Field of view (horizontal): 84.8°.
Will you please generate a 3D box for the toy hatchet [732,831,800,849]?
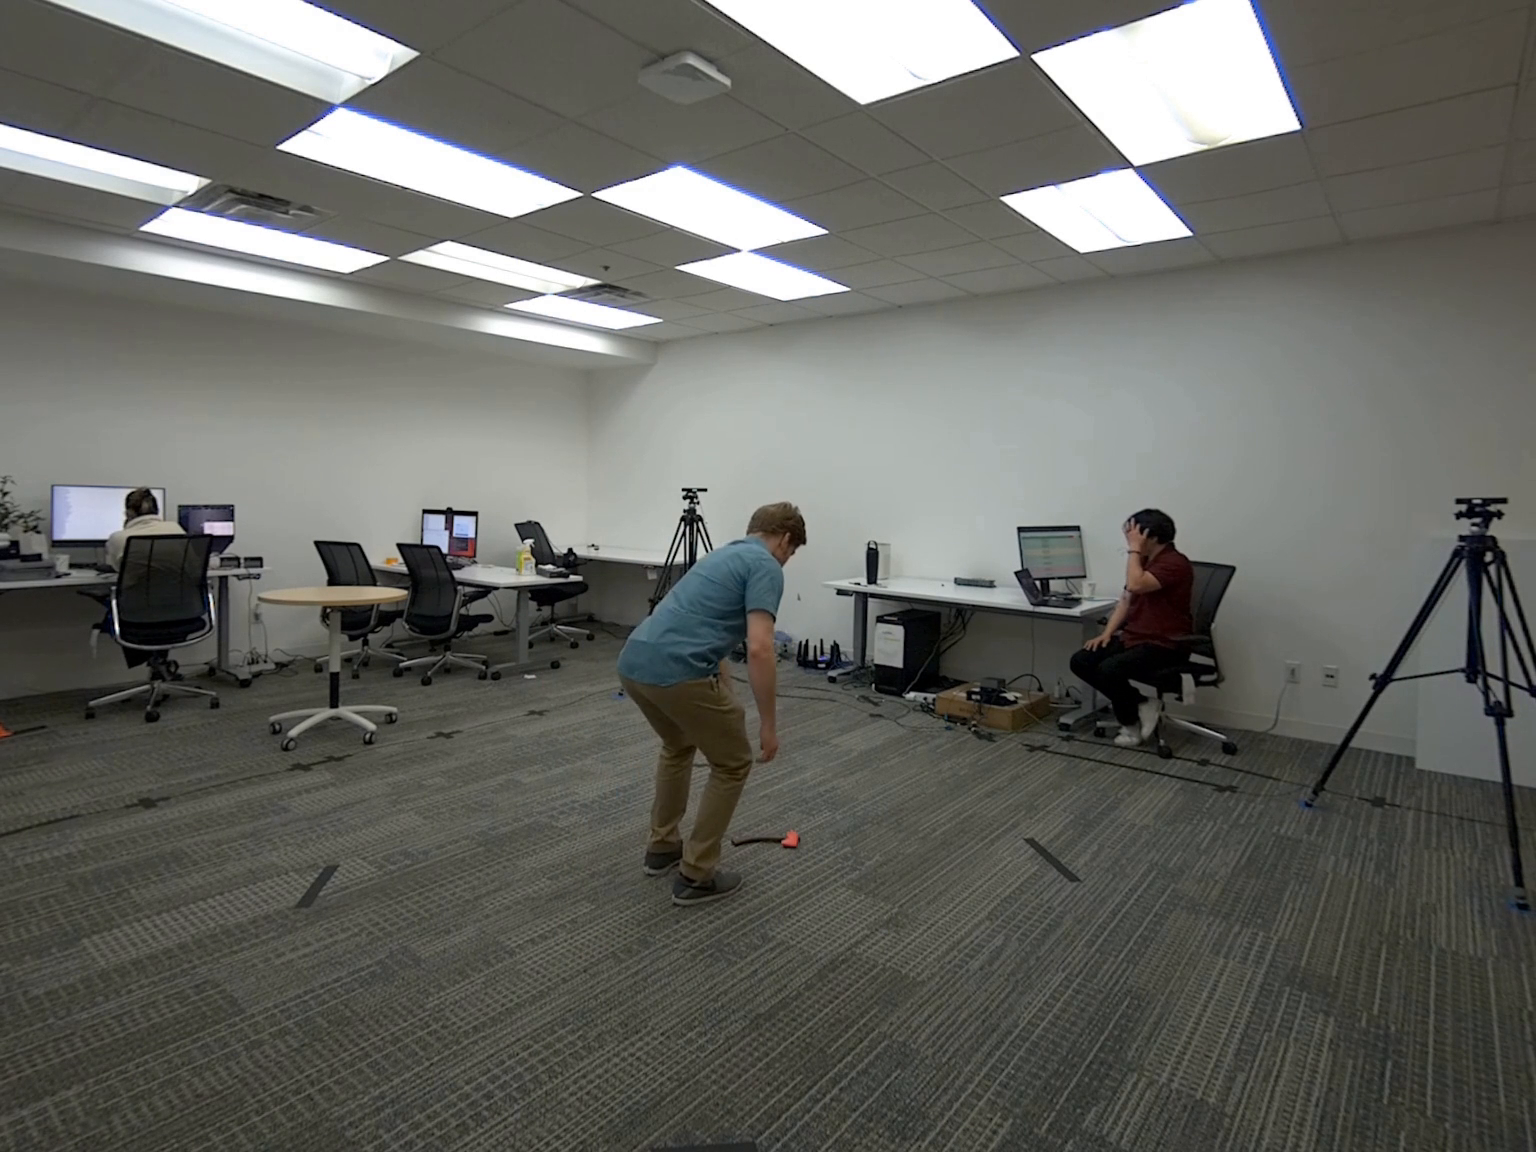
[{"bbox_3d":[-0.005,1.043,3.328,0.264,0.029,0.135,-4,9,-22],"label":"toy hatchet"}]
